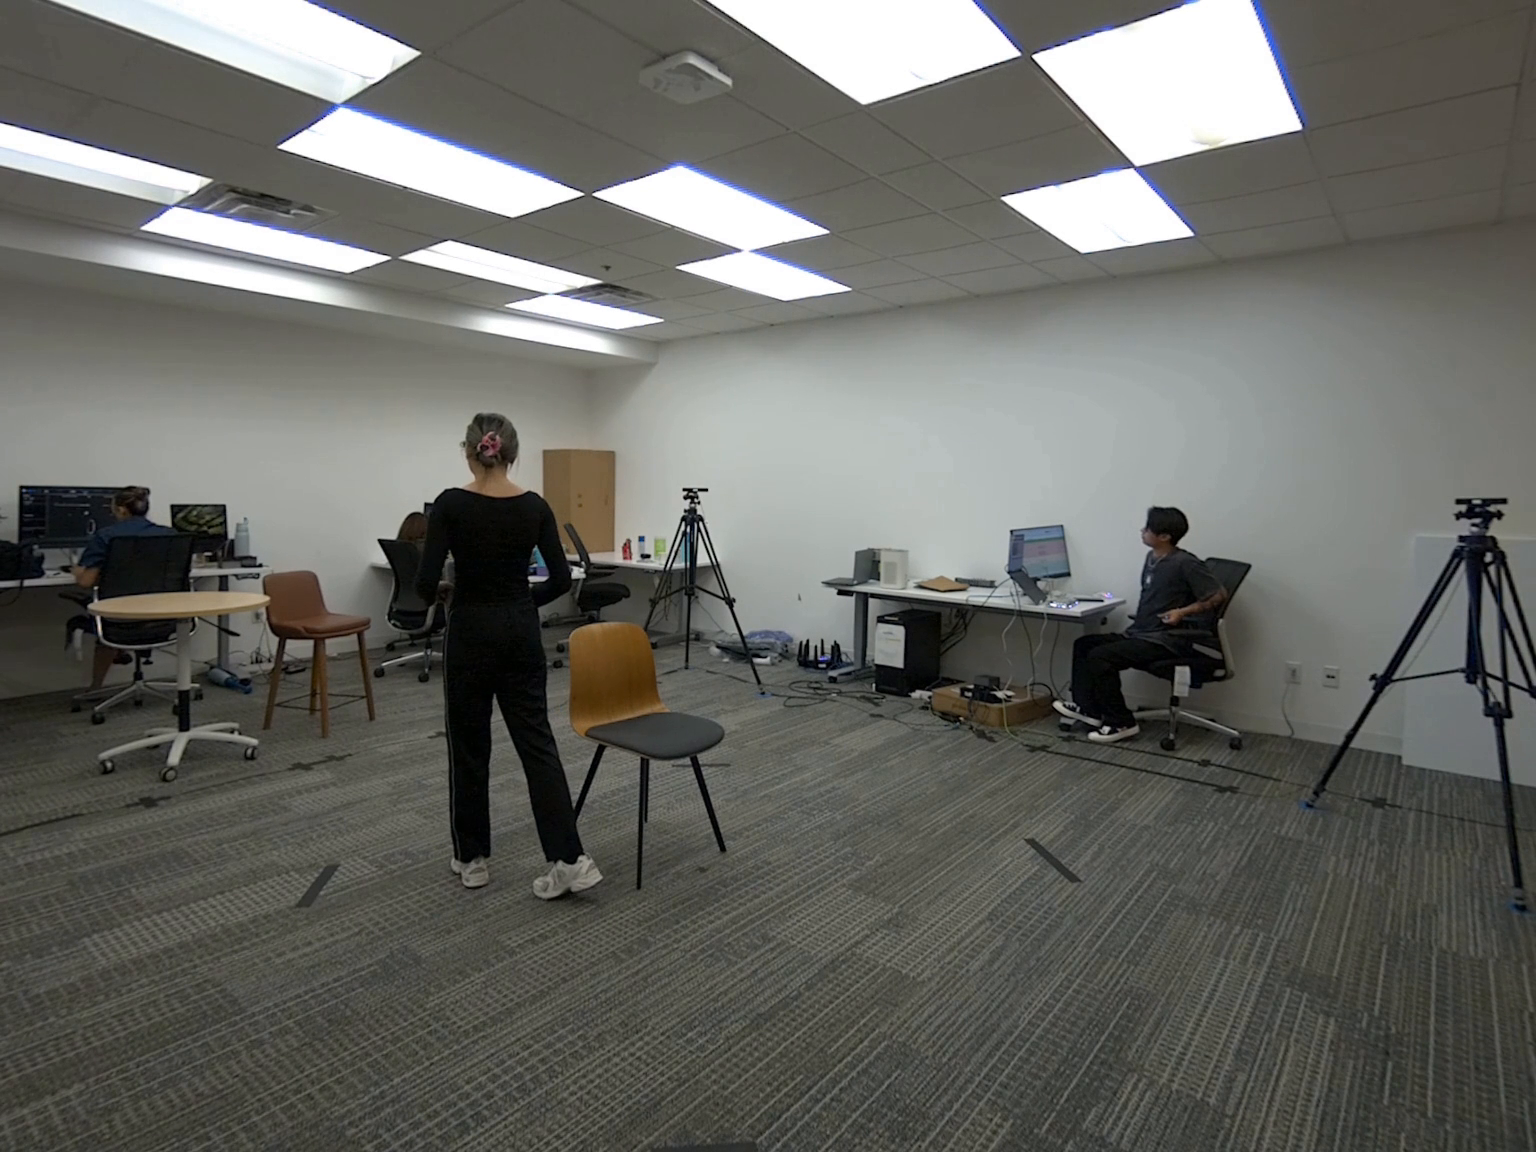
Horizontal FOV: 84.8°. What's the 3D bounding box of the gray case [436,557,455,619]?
[{"bbox_3d":[-1.068,0.047,3.127,0.251,0.261,0.106,-5,-1,-26],"label":"gray case"}]
